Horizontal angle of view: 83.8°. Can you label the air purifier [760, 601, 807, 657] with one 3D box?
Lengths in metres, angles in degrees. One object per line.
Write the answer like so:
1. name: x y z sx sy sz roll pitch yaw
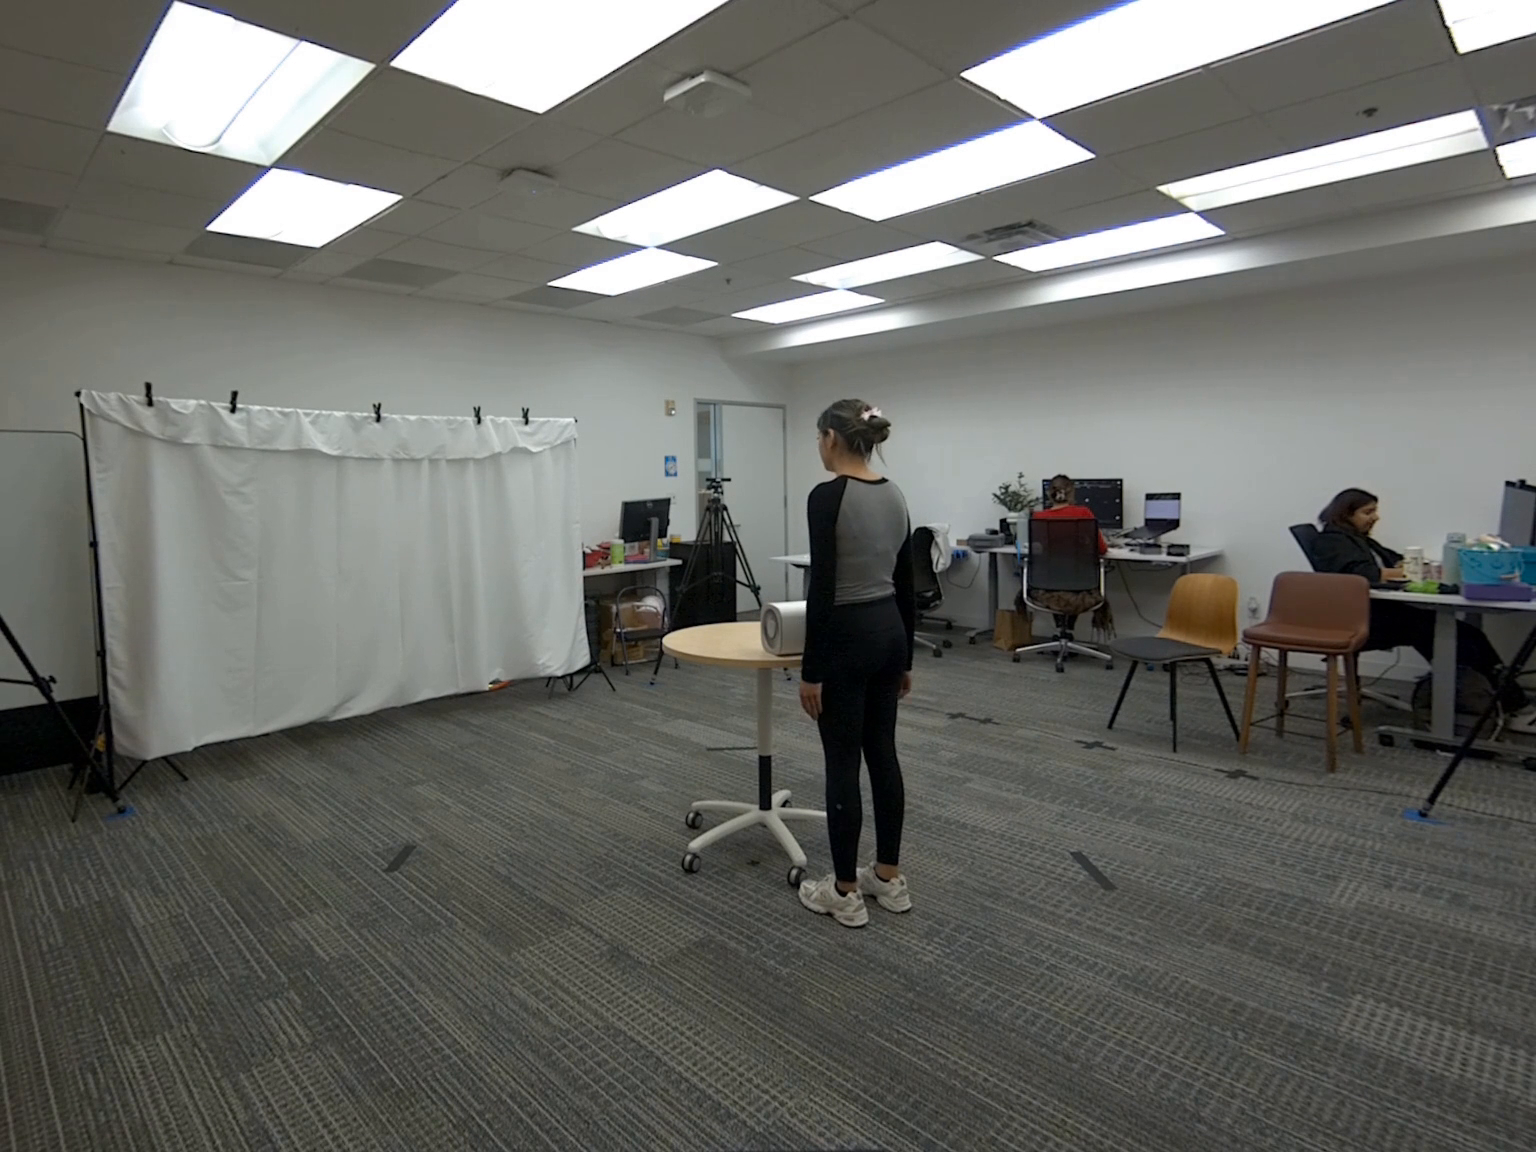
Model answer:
1. air purifier: 0.131 0.174 2.978 0.260 0.171 0.175 -2 5 -22
